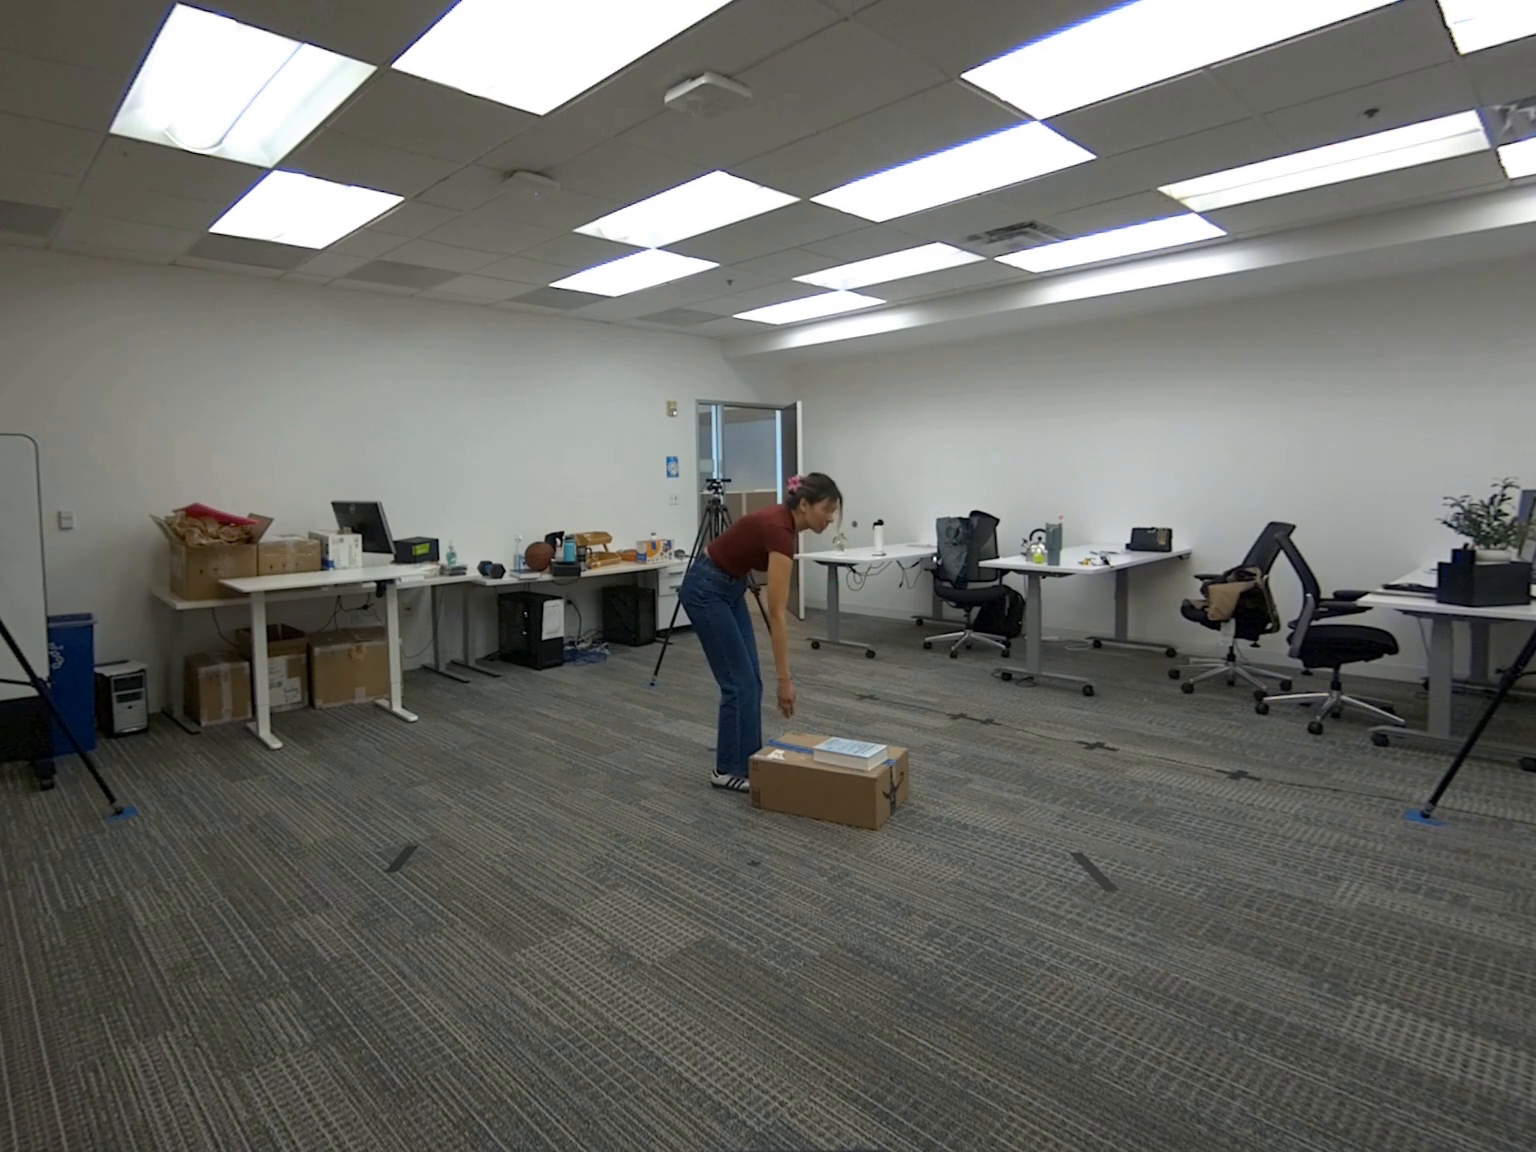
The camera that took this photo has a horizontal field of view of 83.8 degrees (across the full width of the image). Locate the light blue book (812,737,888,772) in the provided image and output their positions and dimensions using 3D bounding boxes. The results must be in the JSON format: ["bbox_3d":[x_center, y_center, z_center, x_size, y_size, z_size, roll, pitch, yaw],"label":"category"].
[{"bbox_3d":[0.344,0.738,3.594,0.268,0.059,0.187,2,7,35],"label":"light blue book"}]
